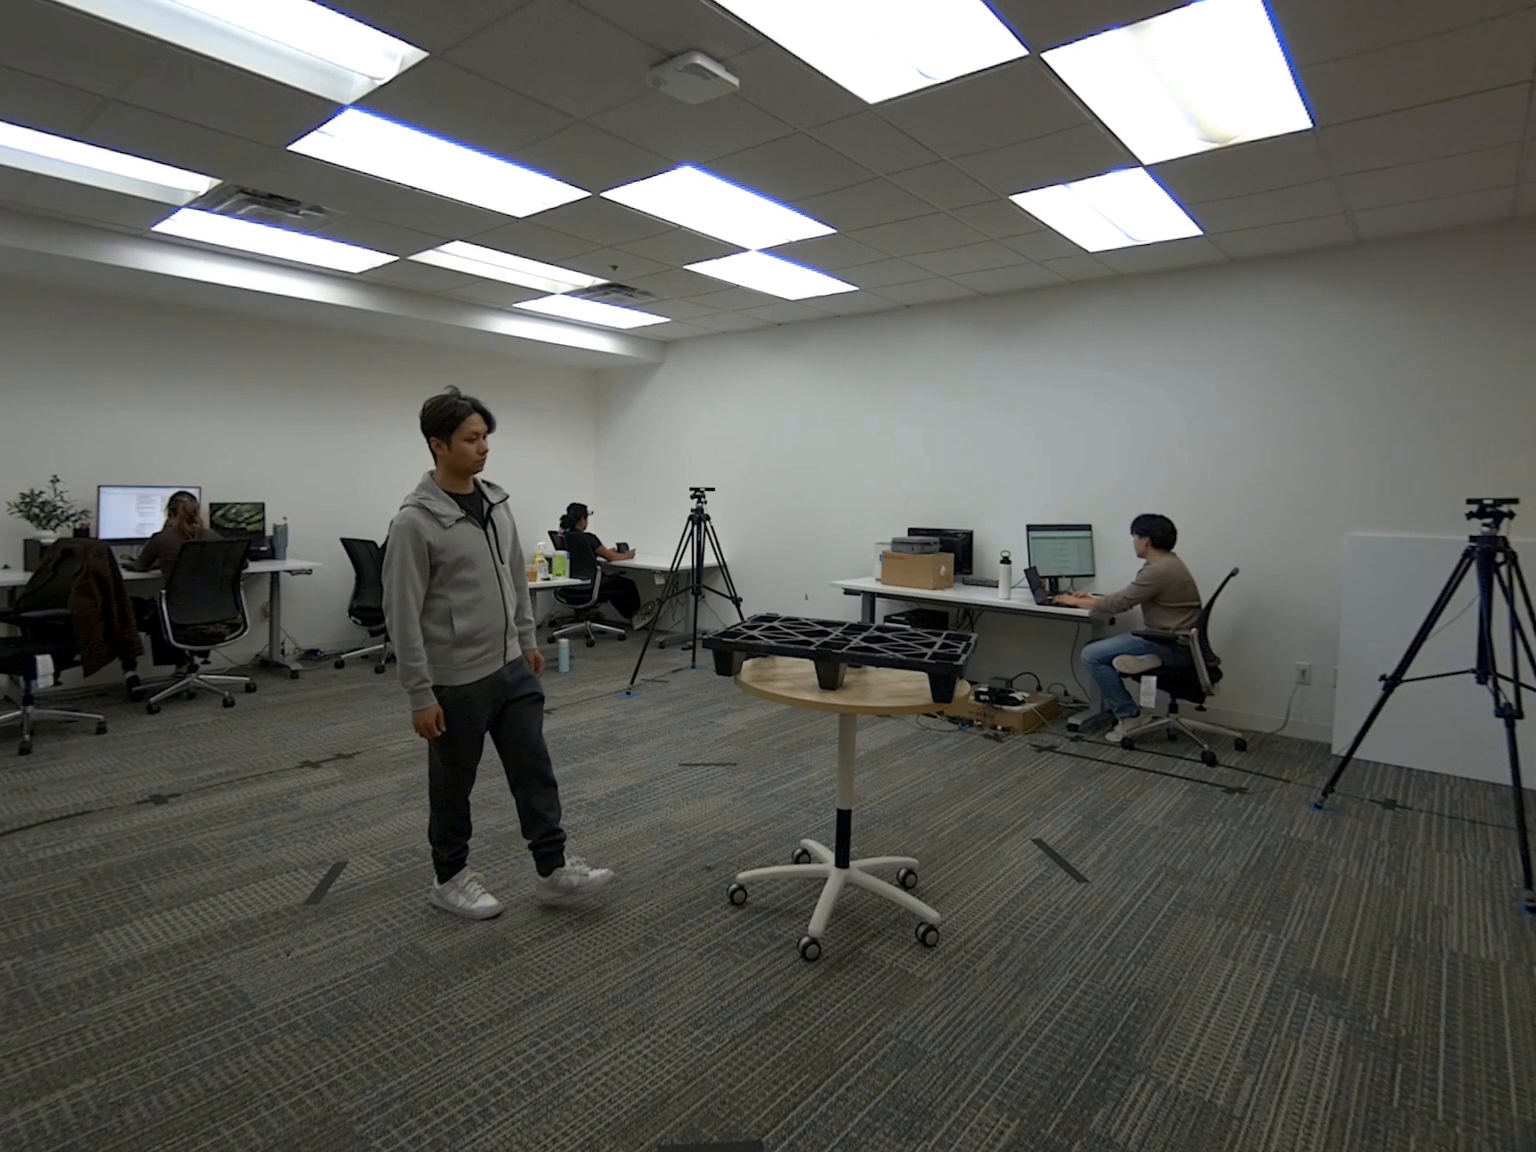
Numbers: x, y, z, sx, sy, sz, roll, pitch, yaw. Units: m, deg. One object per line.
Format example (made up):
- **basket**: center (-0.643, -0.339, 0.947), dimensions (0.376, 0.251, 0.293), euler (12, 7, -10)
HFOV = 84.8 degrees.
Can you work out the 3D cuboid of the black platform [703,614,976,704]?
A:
- **black platform**: center (0.249, 0.260, 2.792), dimensions (0.824, 0.142, 0.595), euler (4, 7, 20)
